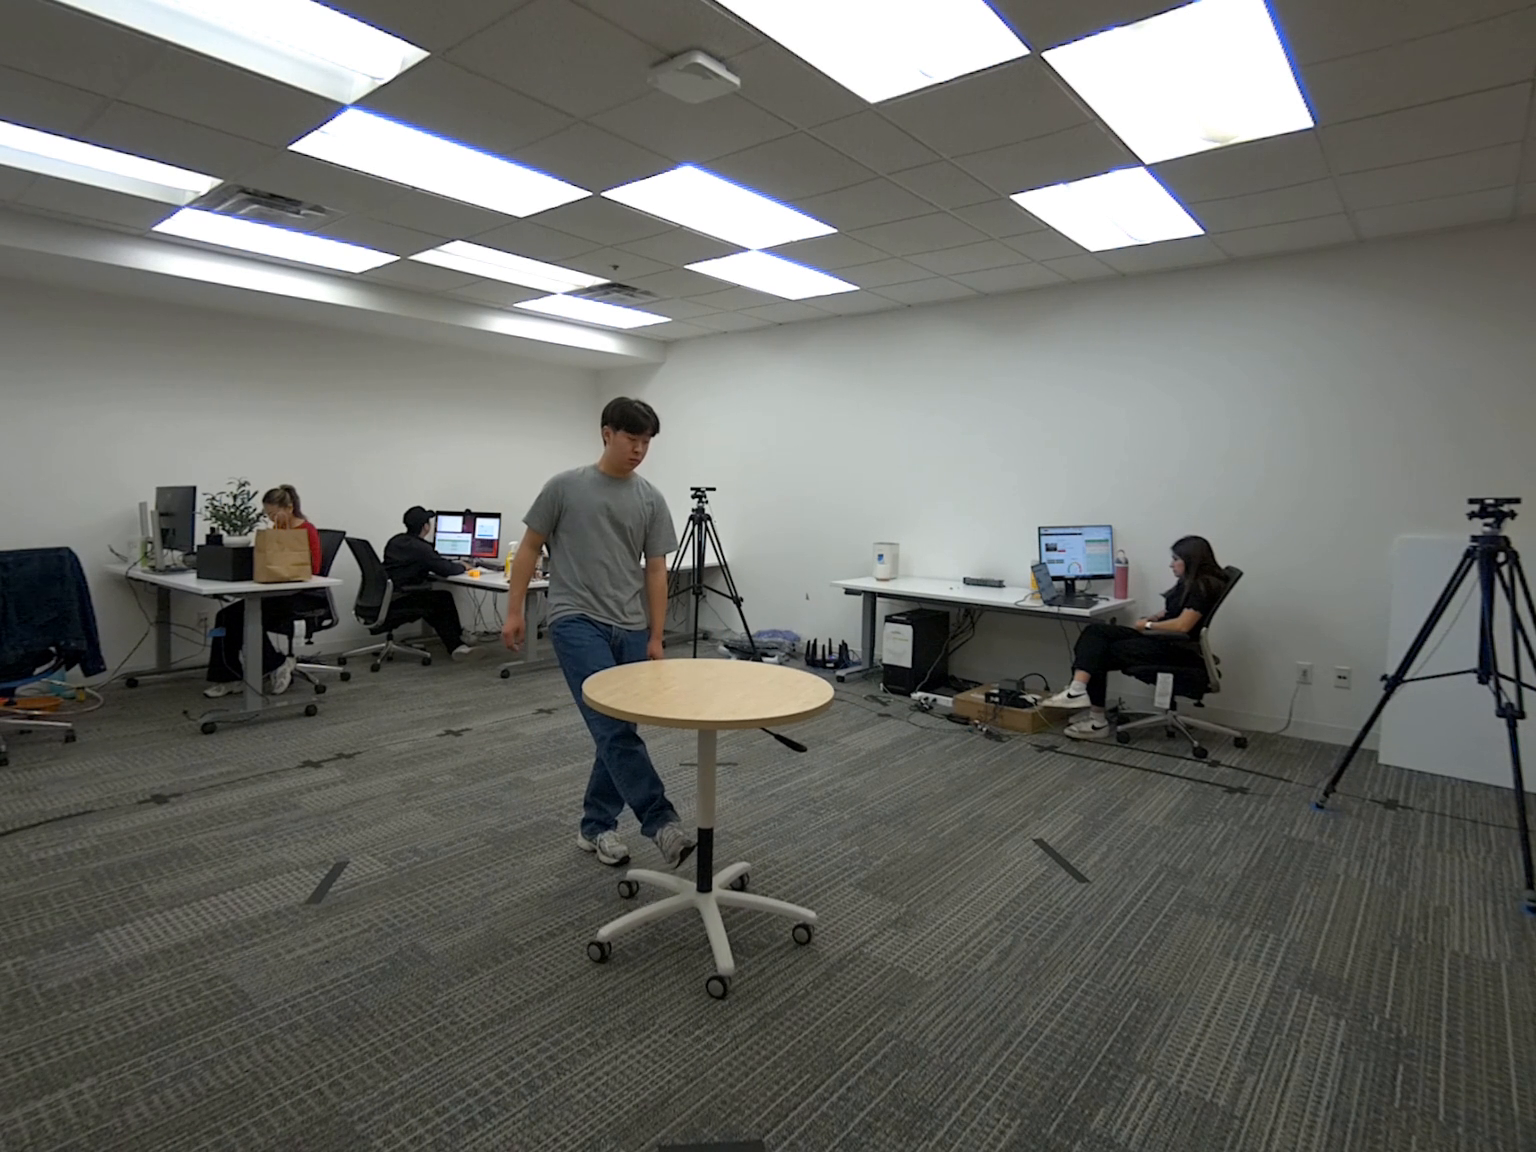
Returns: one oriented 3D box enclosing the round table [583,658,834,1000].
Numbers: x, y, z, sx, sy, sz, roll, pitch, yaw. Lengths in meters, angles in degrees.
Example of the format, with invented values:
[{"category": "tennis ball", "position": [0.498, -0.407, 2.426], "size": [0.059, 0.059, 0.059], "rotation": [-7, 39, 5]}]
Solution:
[{"category": "round table", "position": [-0.205, 0.725, 2.624], "size": [0.763, 0.791, 0.768], "rotation": [1, 5, -2]}]
